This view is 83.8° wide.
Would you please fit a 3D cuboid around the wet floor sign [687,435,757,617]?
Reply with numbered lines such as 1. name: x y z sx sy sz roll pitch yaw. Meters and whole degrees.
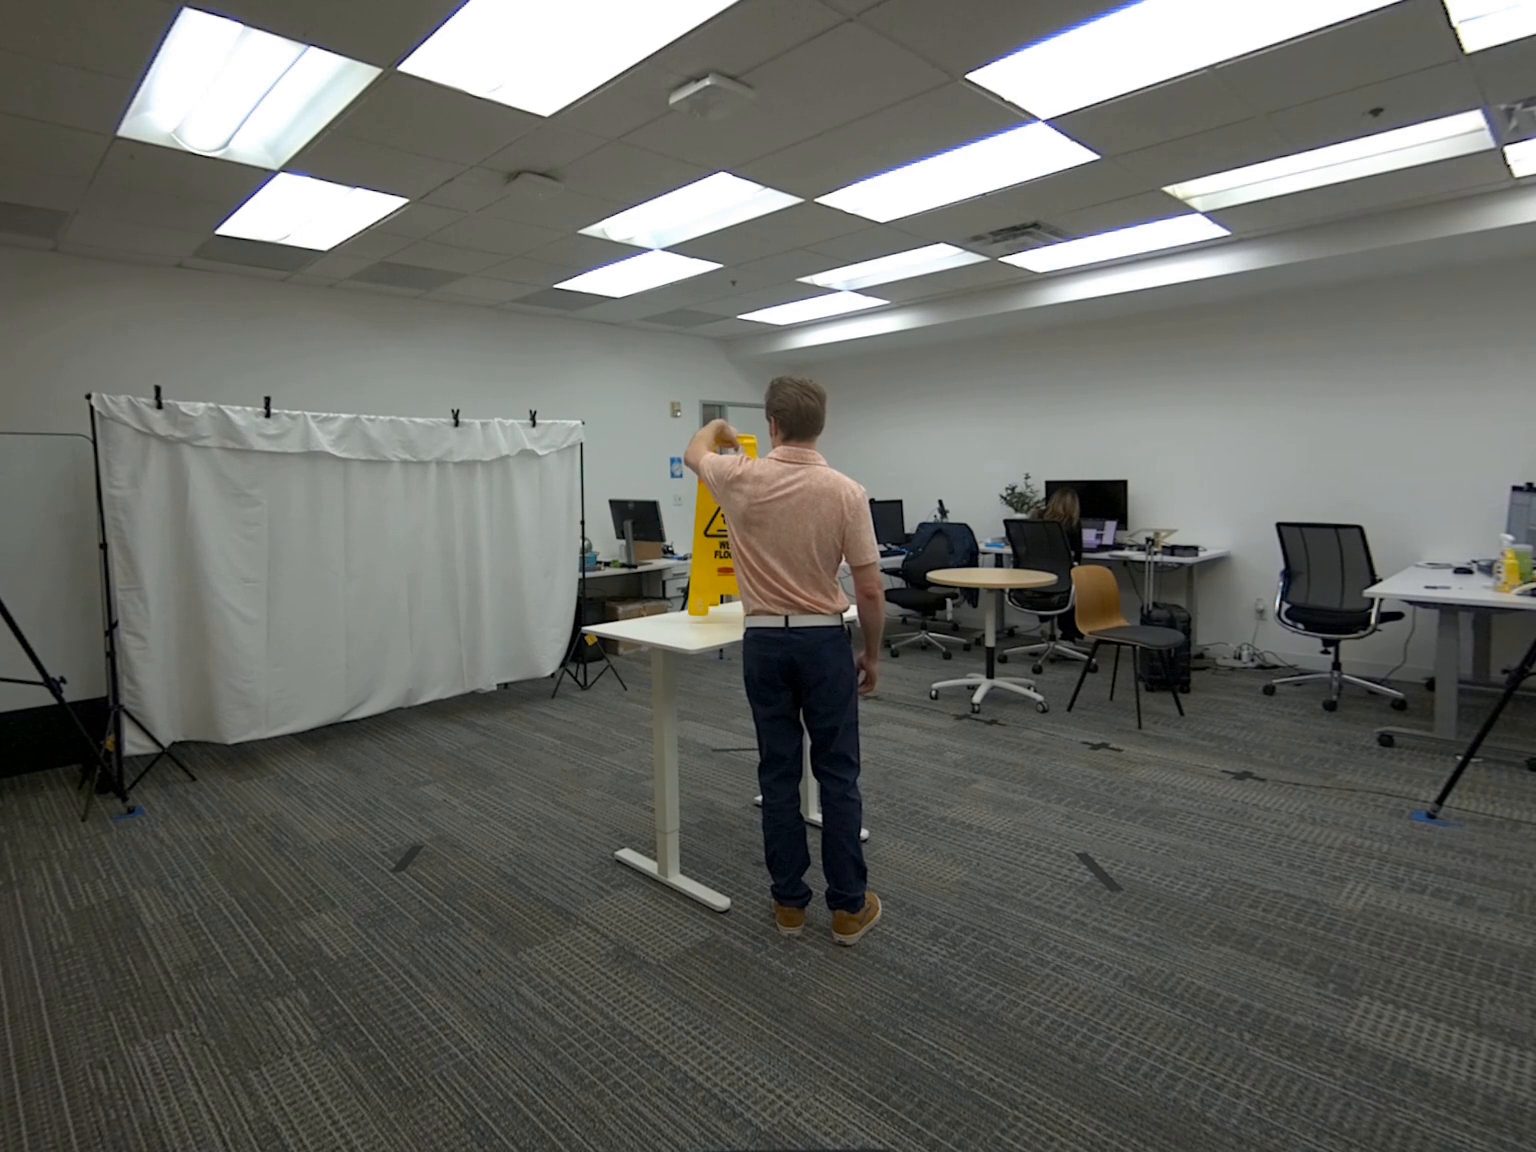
1. wet floor sign: -0.134 -0.192 3.156 0.284 0.643 0.289 0 5 7
